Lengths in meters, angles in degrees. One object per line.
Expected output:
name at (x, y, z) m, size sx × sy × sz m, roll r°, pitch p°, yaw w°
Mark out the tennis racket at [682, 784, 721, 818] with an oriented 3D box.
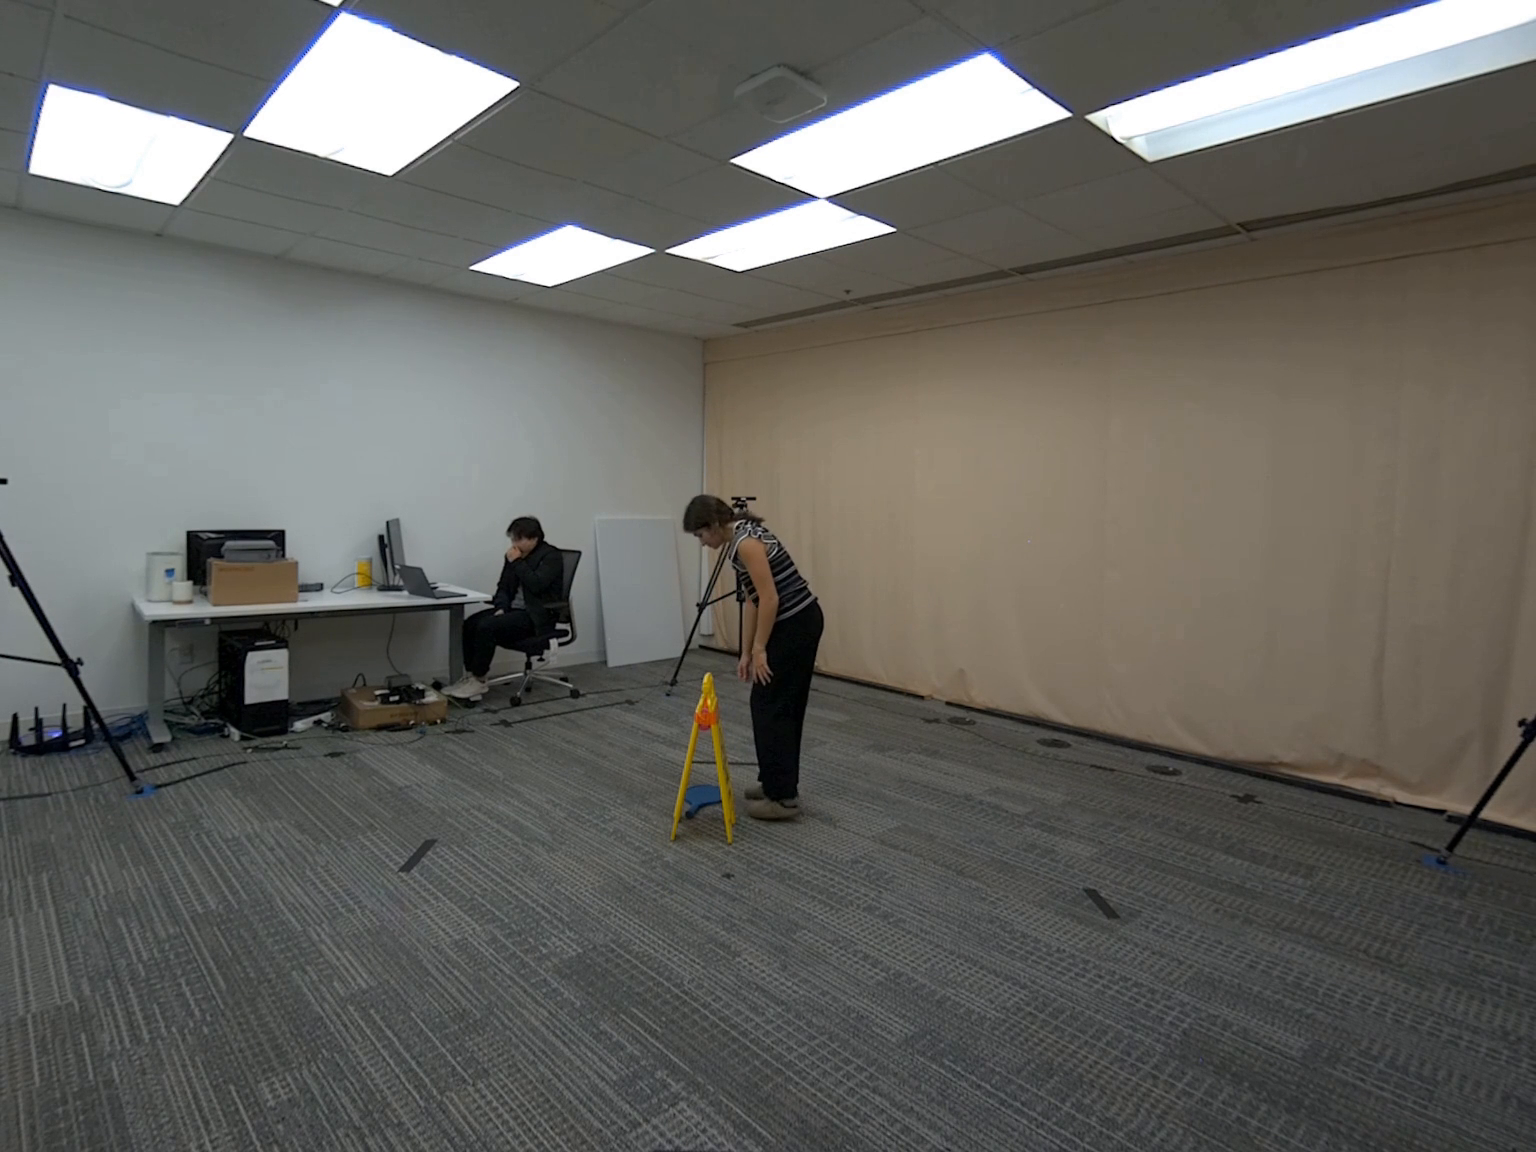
tennis racket at (-0.311, 1.016, 3.851) m, size 0.216 × 0.032 × 0.429 m, roll 2°, pitch 4°, yaw 10°
